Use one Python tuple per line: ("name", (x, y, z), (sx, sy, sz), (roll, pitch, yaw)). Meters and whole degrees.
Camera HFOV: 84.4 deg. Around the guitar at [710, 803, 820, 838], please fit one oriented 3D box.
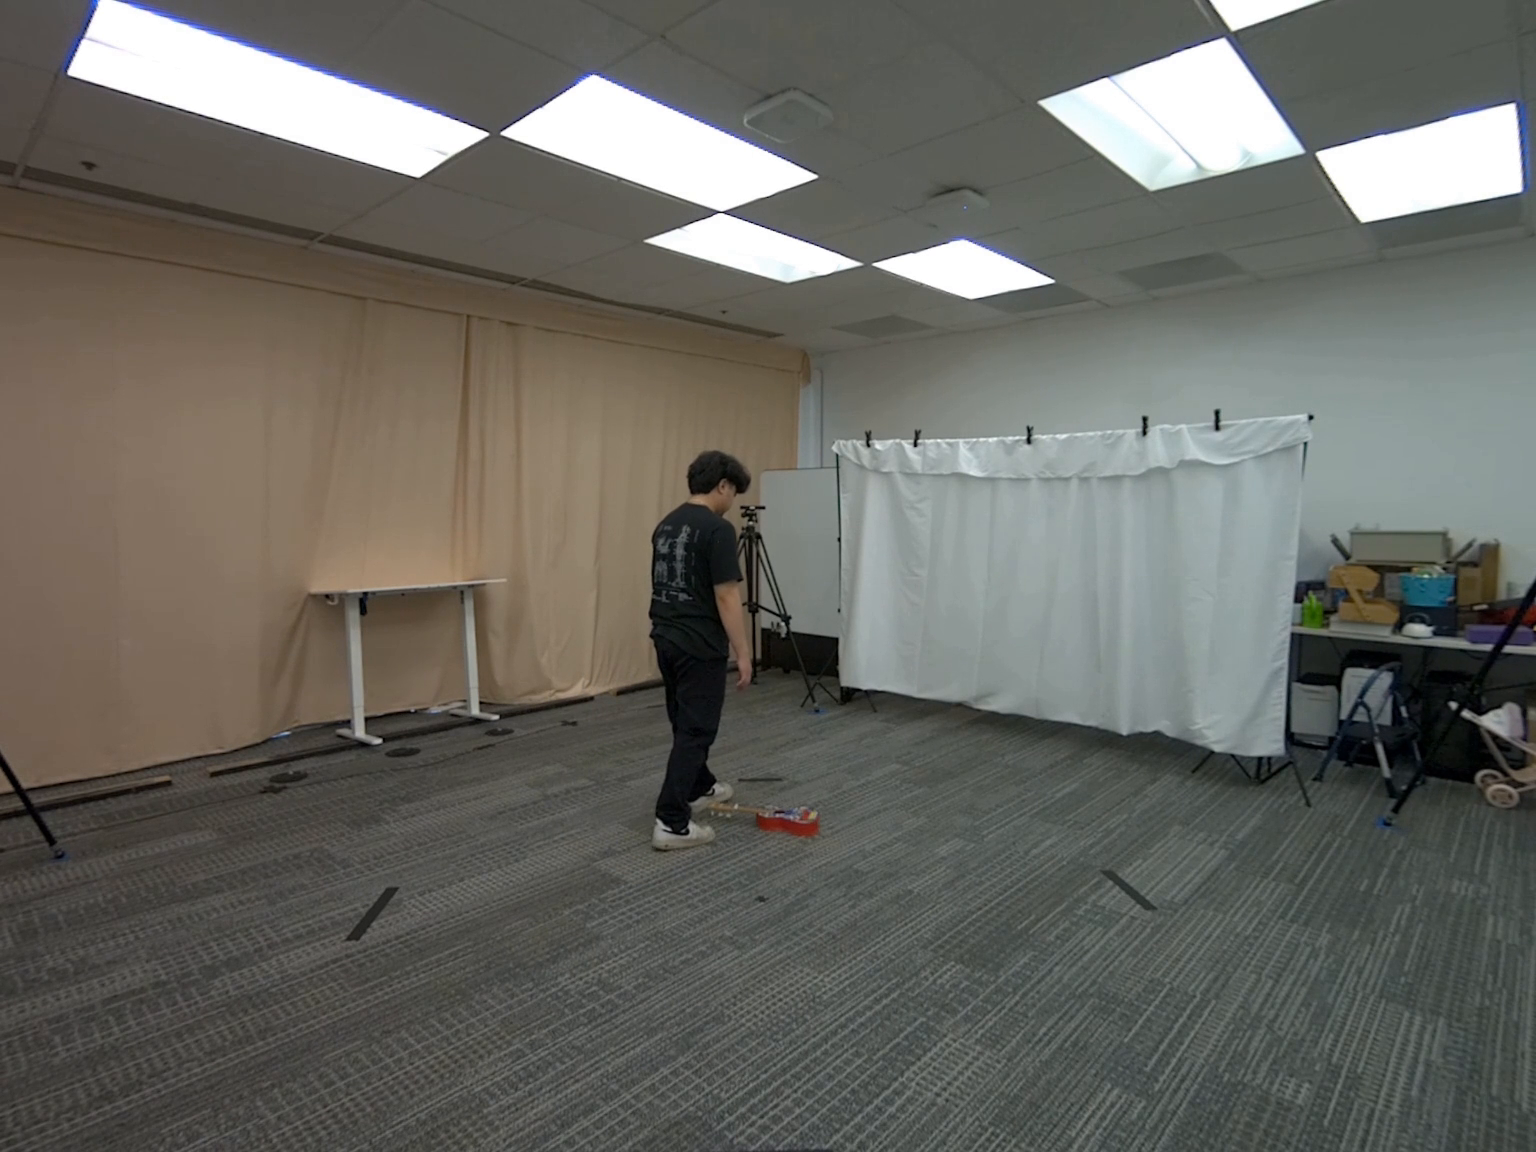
("guitar", (-0.010, 1.053, 3.714), (0.510, 0.070, 0.189), (2, 5, 23))
